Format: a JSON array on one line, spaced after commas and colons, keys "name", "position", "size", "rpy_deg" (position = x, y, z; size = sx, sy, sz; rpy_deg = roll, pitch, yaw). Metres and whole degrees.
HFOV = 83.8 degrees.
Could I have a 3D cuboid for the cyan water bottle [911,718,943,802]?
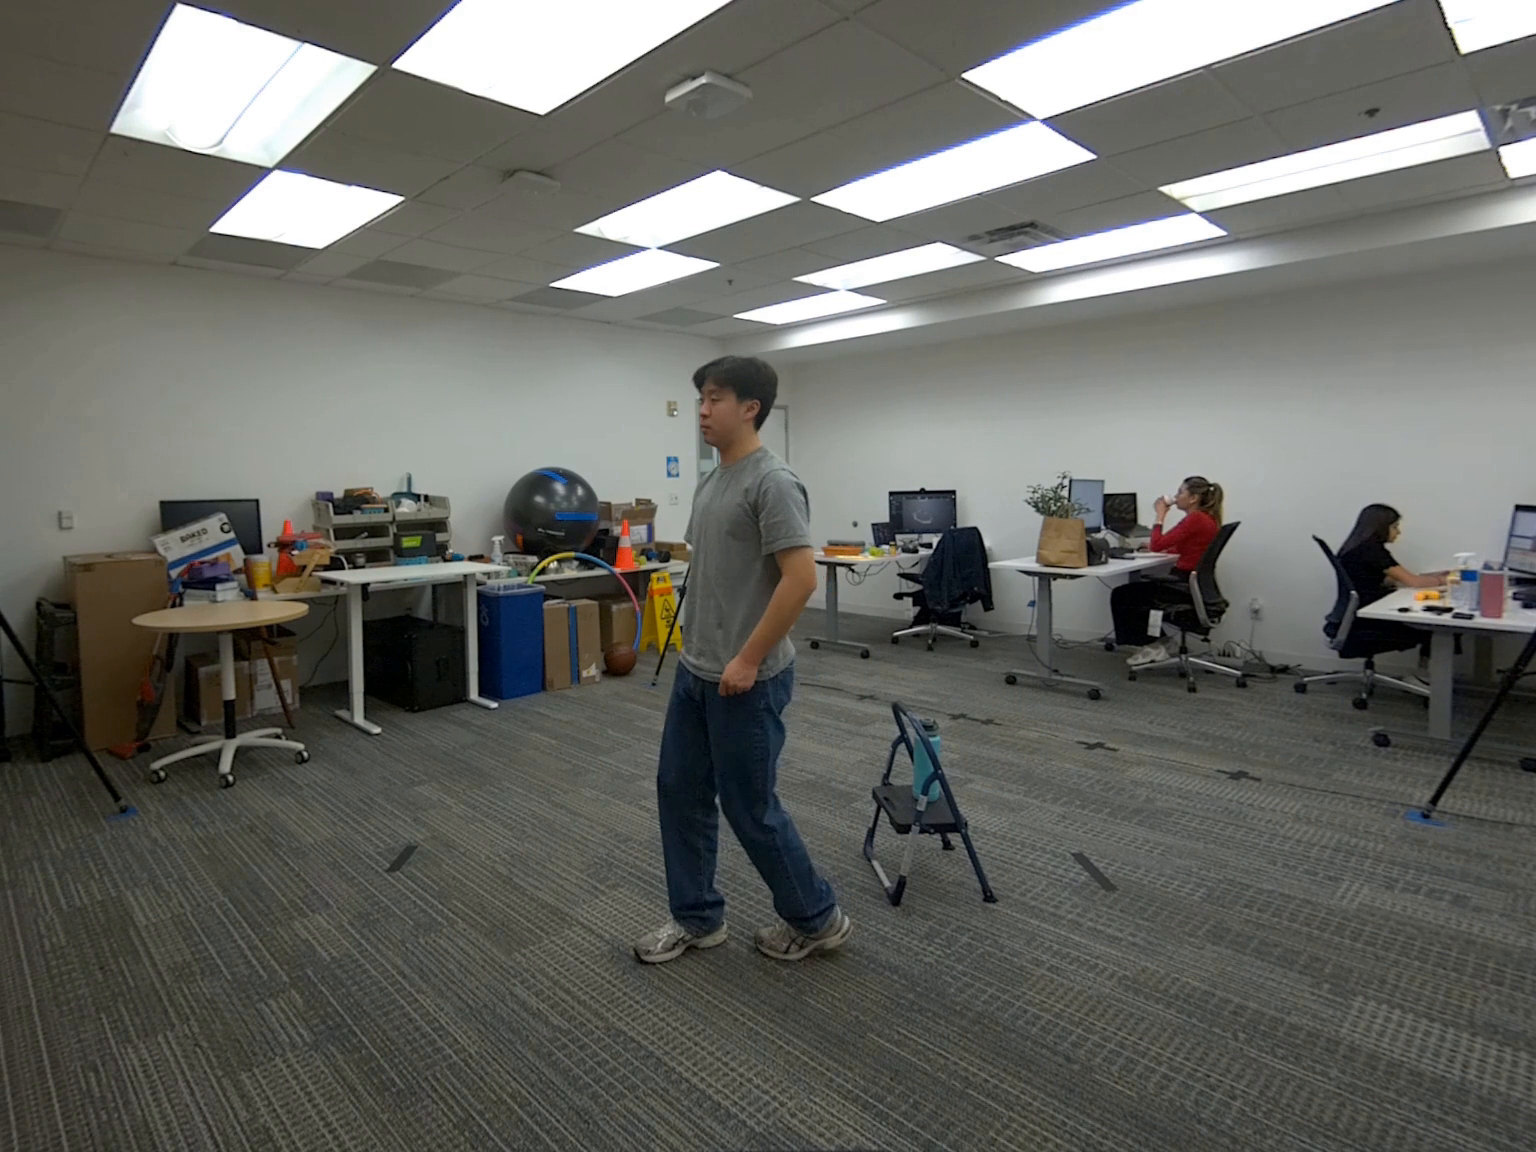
[{"name": "cyan water bottle", "position": [0.568, 0.642, 3.011], "size": [0.092, 0.283, 0.092], "rpy_deg": [0, 1, -2]}]
